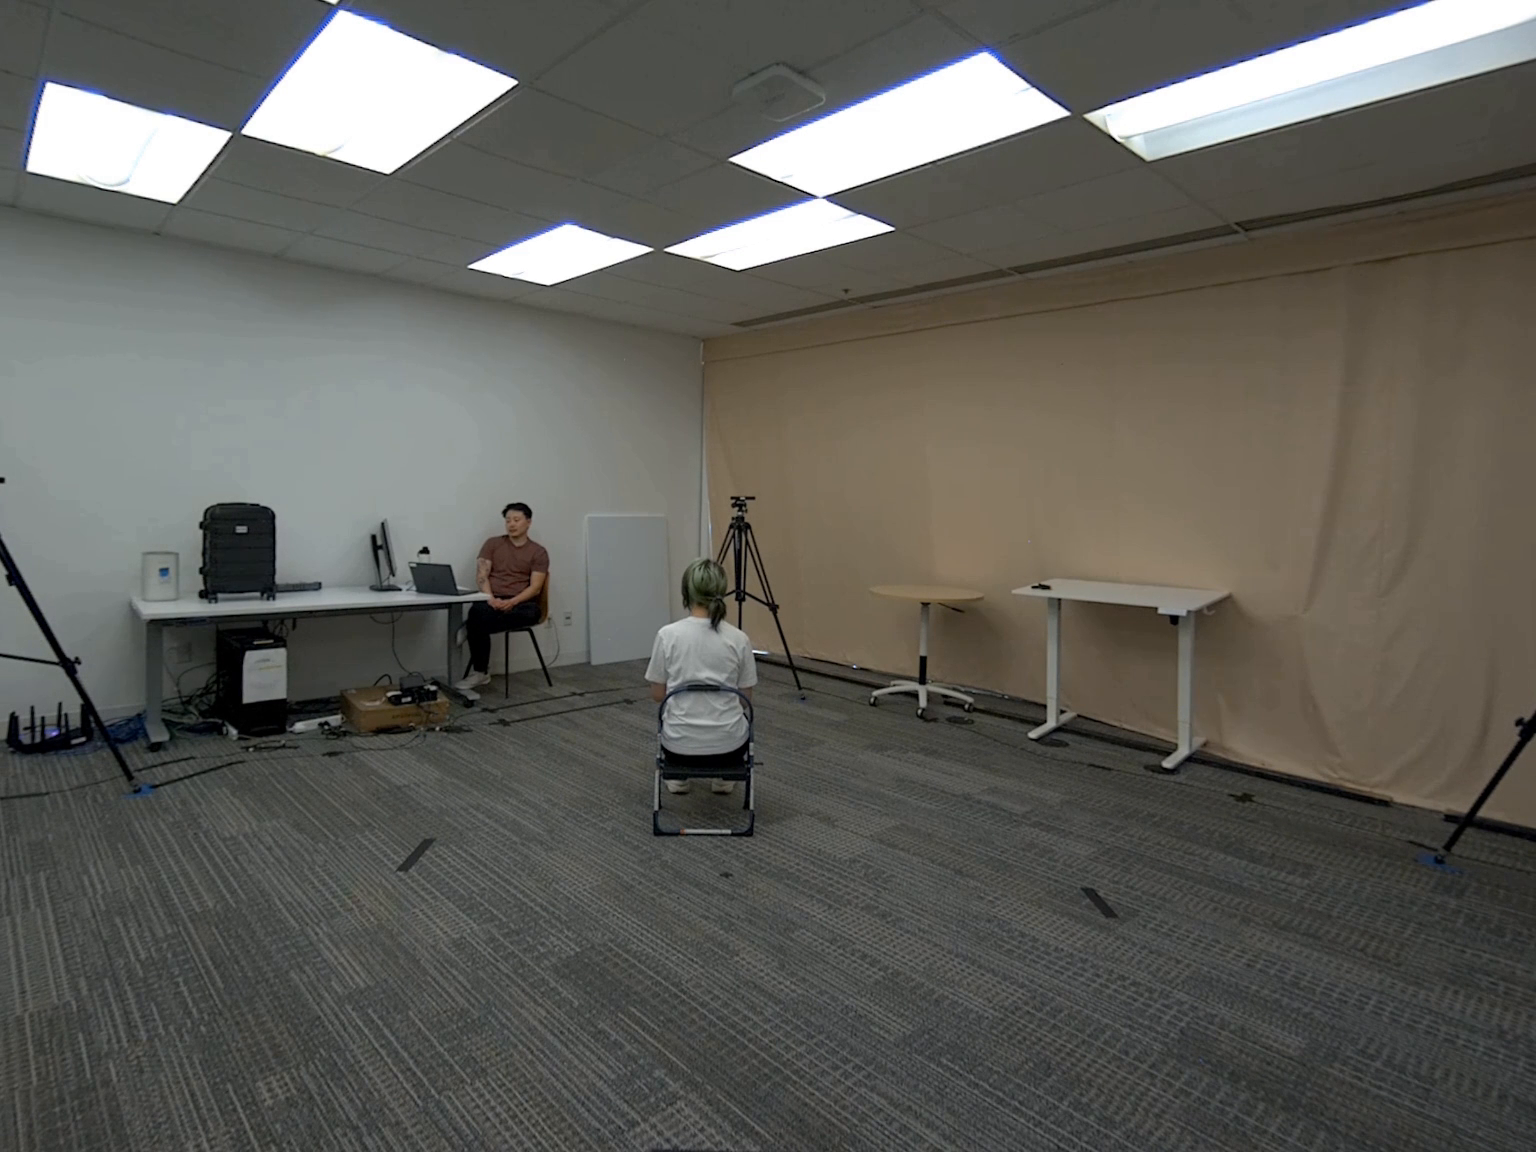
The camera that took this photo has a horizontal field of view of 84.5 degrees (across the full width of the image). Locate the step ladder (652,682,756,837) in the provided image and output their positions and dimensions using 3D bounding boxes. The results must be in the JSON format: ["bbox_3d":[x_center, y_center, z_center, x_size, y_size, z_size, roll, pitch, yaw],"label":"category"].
[{"bbox_3d":[-0.286,0.761,3.613,0.429,0.605,0.351,1,2,-4],"label":"step ladder"}]
